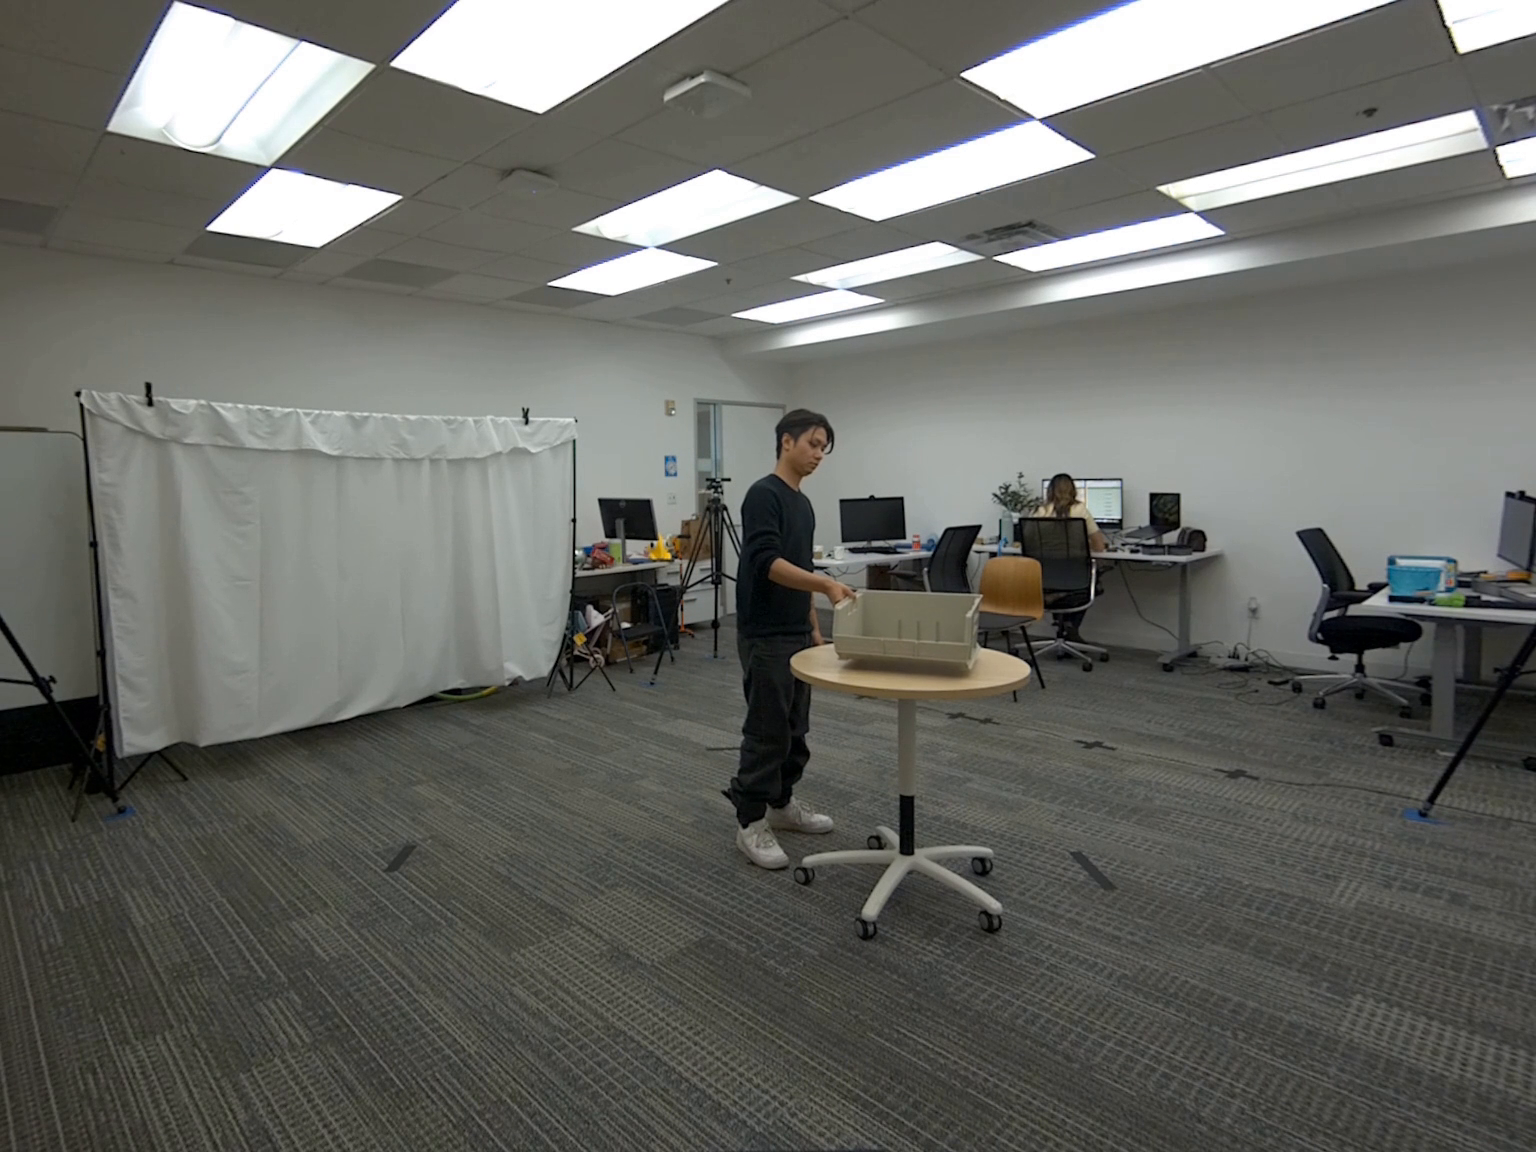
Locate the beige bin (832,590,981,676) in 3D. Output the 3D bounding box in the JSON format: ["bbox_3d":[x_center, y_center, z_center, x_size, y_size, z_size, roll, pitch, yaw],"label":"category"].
[{"bbox_3d":[0.462,0.174,2.770,0.431,0.188,0.372,1,6,21],"label":"beige bin"}]
